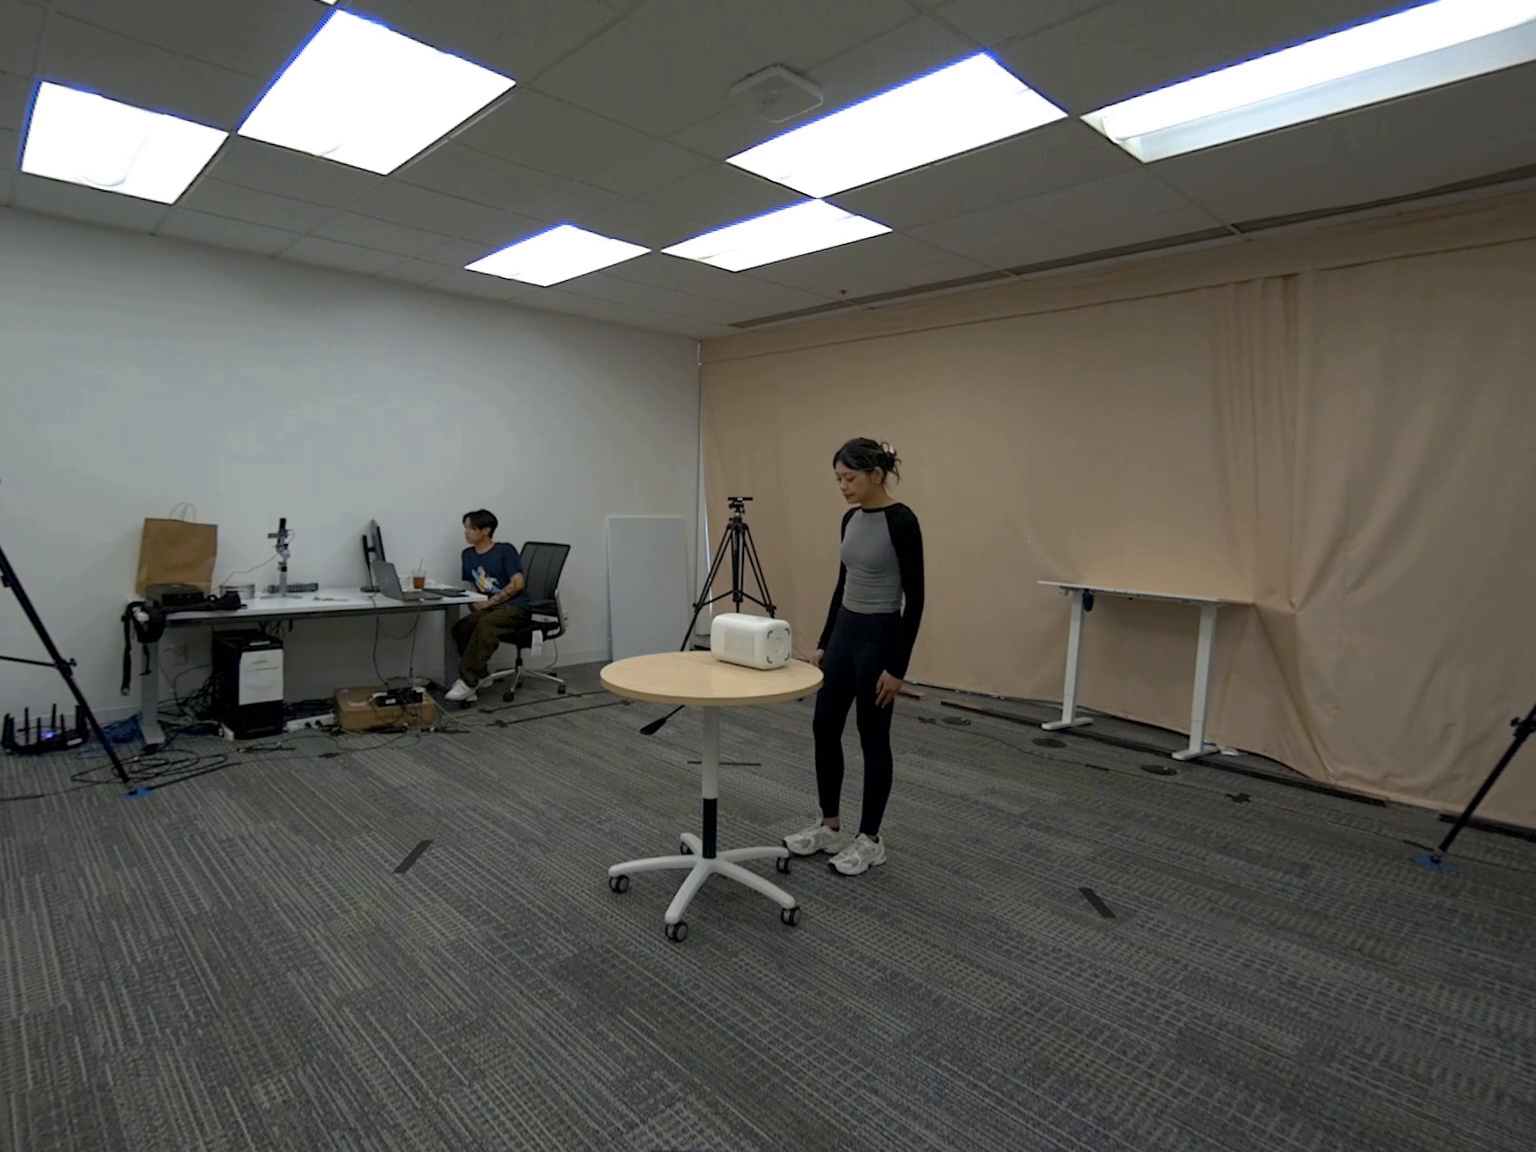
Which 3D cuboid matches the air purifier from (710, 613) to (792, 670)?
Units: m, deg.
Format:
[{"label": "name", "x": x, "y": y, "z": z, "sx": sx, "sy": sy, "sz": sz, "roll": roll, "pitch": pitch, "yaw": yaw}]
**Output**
[{"label": "air purifier", "x": -0.063, "y": 0.233, "z": 3.034, "sx": 0.272, "sy": 0.171, "sz": 0.167, "roll": 6, "pitch": 6, "yaw": 44}]
